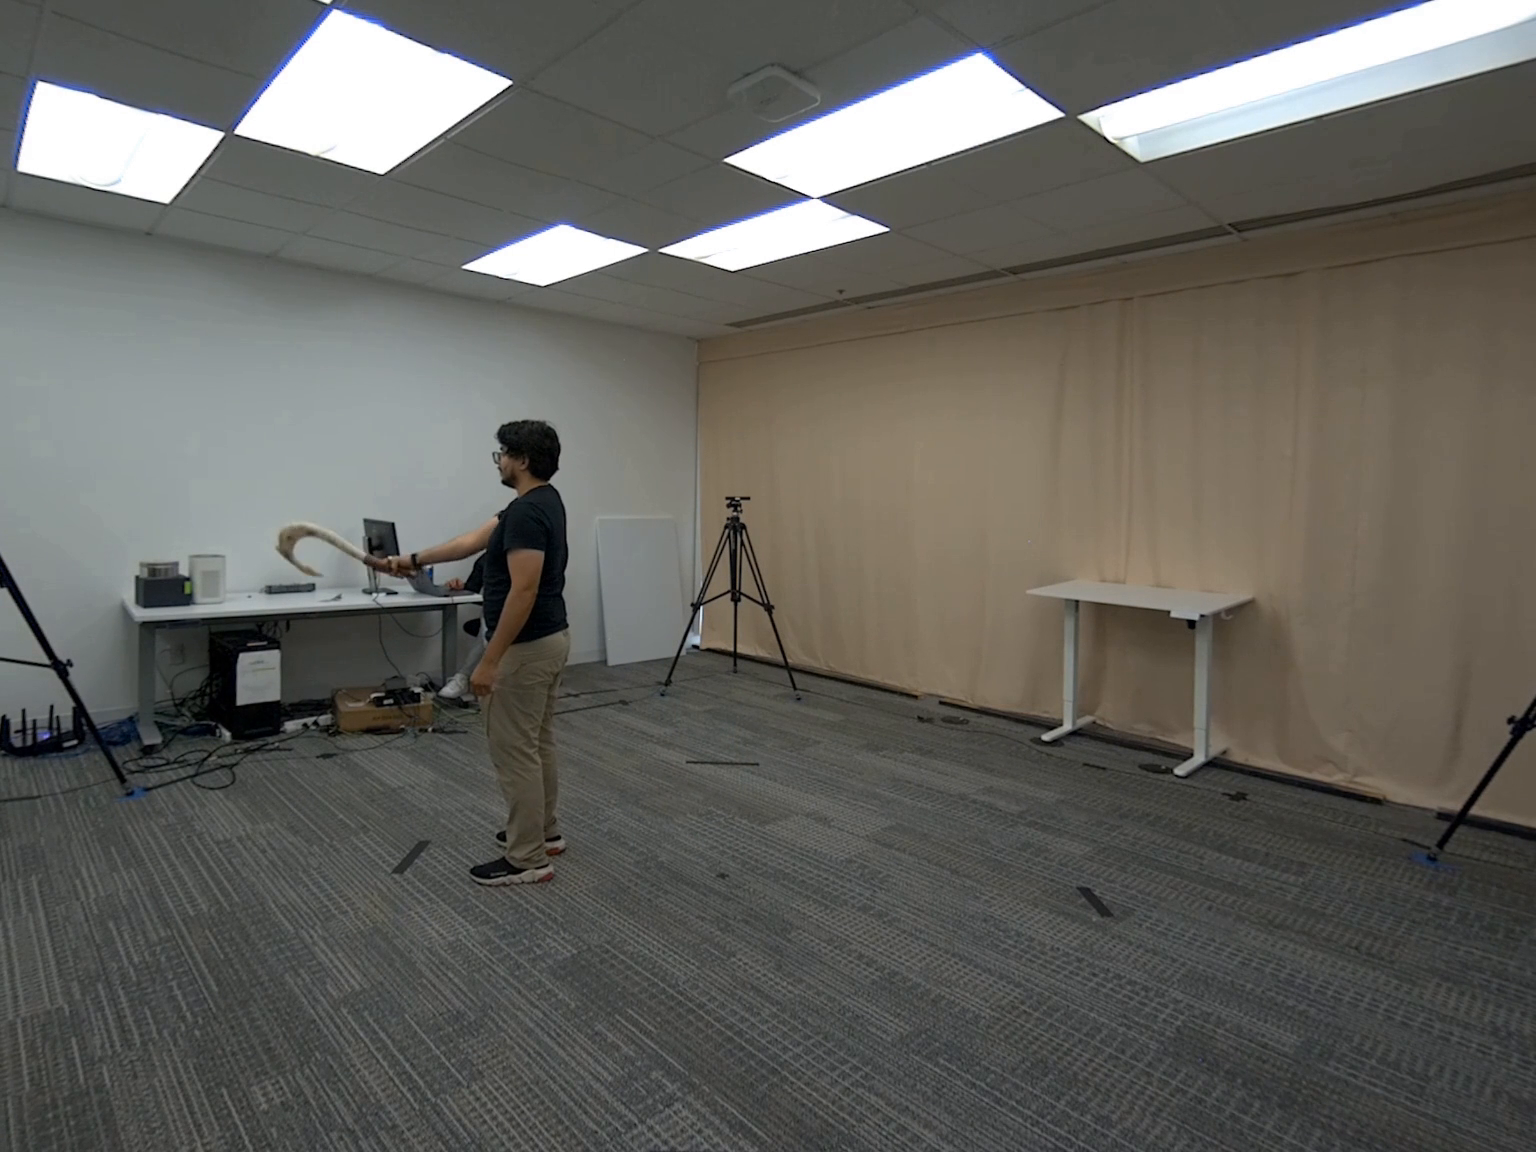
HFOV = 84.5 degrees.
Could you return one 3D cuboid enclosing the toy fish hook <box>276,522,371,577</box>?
[{"bbox_3d":[-1.596,-0.057,3.212,0.497,0.223,0.049,23,30,-18],"label":"toy fish hook"}]
